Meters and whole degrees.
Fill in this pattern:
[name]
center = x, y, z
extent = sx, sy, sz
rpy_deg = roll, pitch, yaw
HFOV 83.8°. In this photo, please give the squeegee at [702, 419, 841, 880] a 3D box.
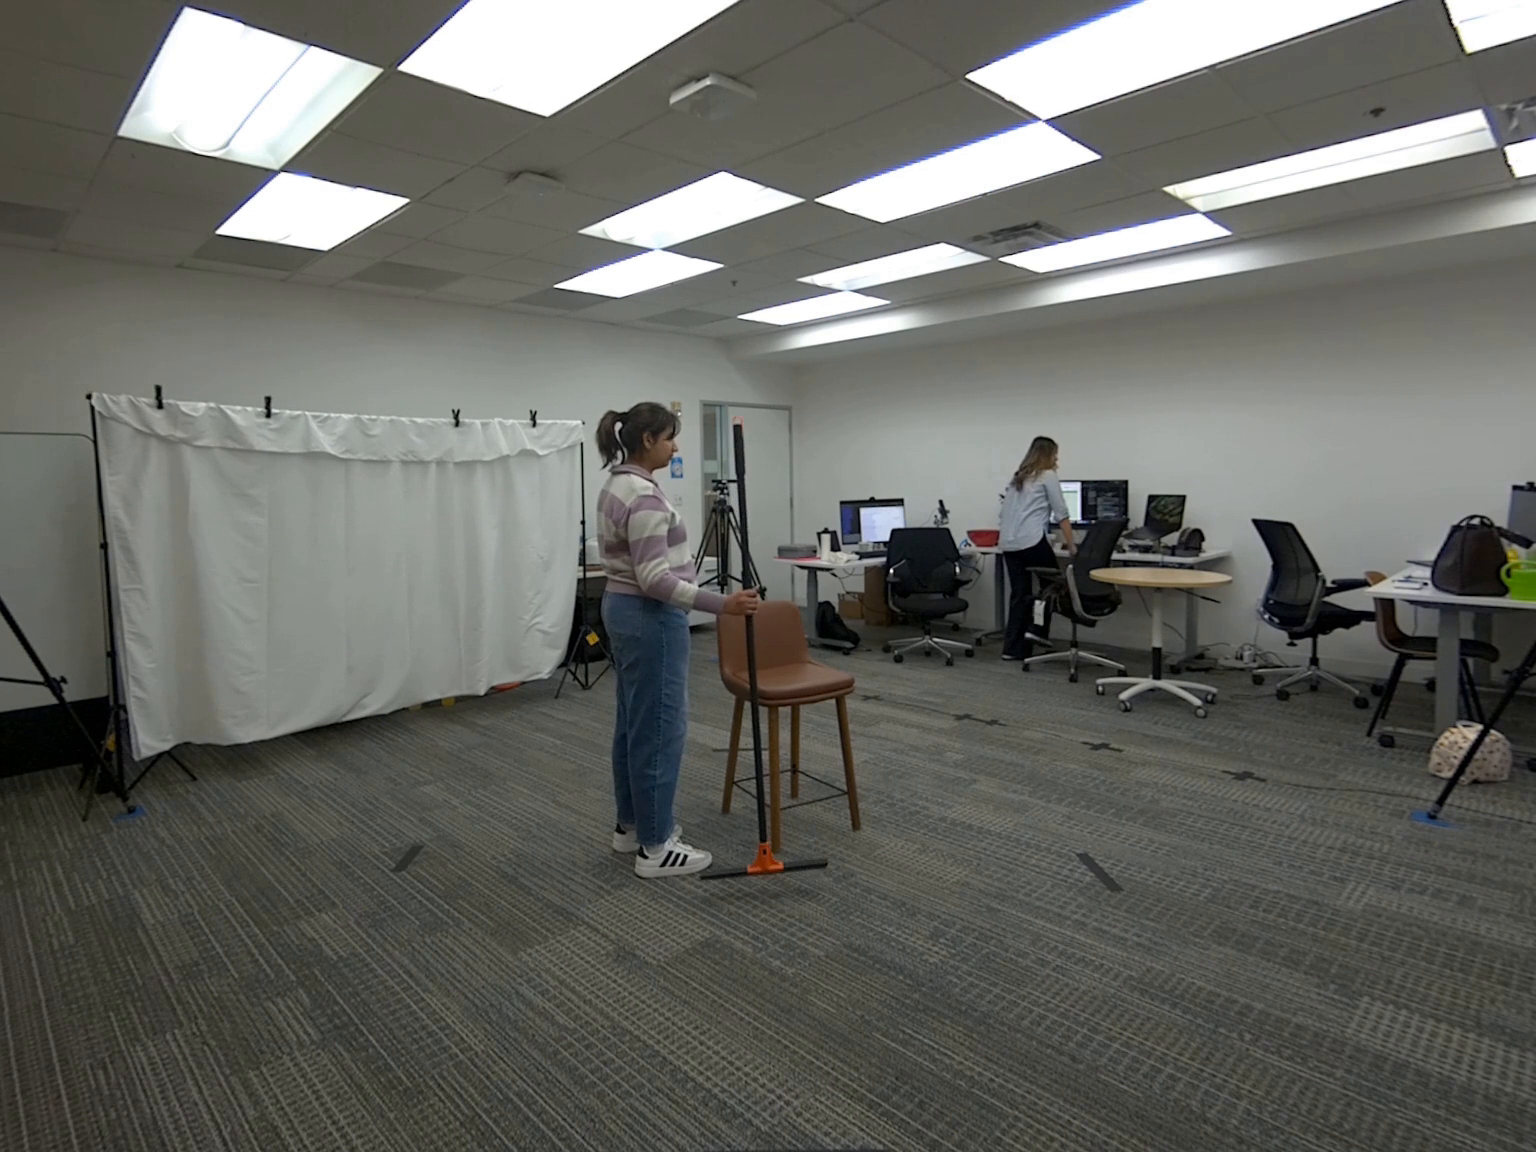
[squeegee]
center = -0.039, 0.243, 2.829
extent = 0.435, 1.531, 0.053
rpy_deg = -3, 4, -5
